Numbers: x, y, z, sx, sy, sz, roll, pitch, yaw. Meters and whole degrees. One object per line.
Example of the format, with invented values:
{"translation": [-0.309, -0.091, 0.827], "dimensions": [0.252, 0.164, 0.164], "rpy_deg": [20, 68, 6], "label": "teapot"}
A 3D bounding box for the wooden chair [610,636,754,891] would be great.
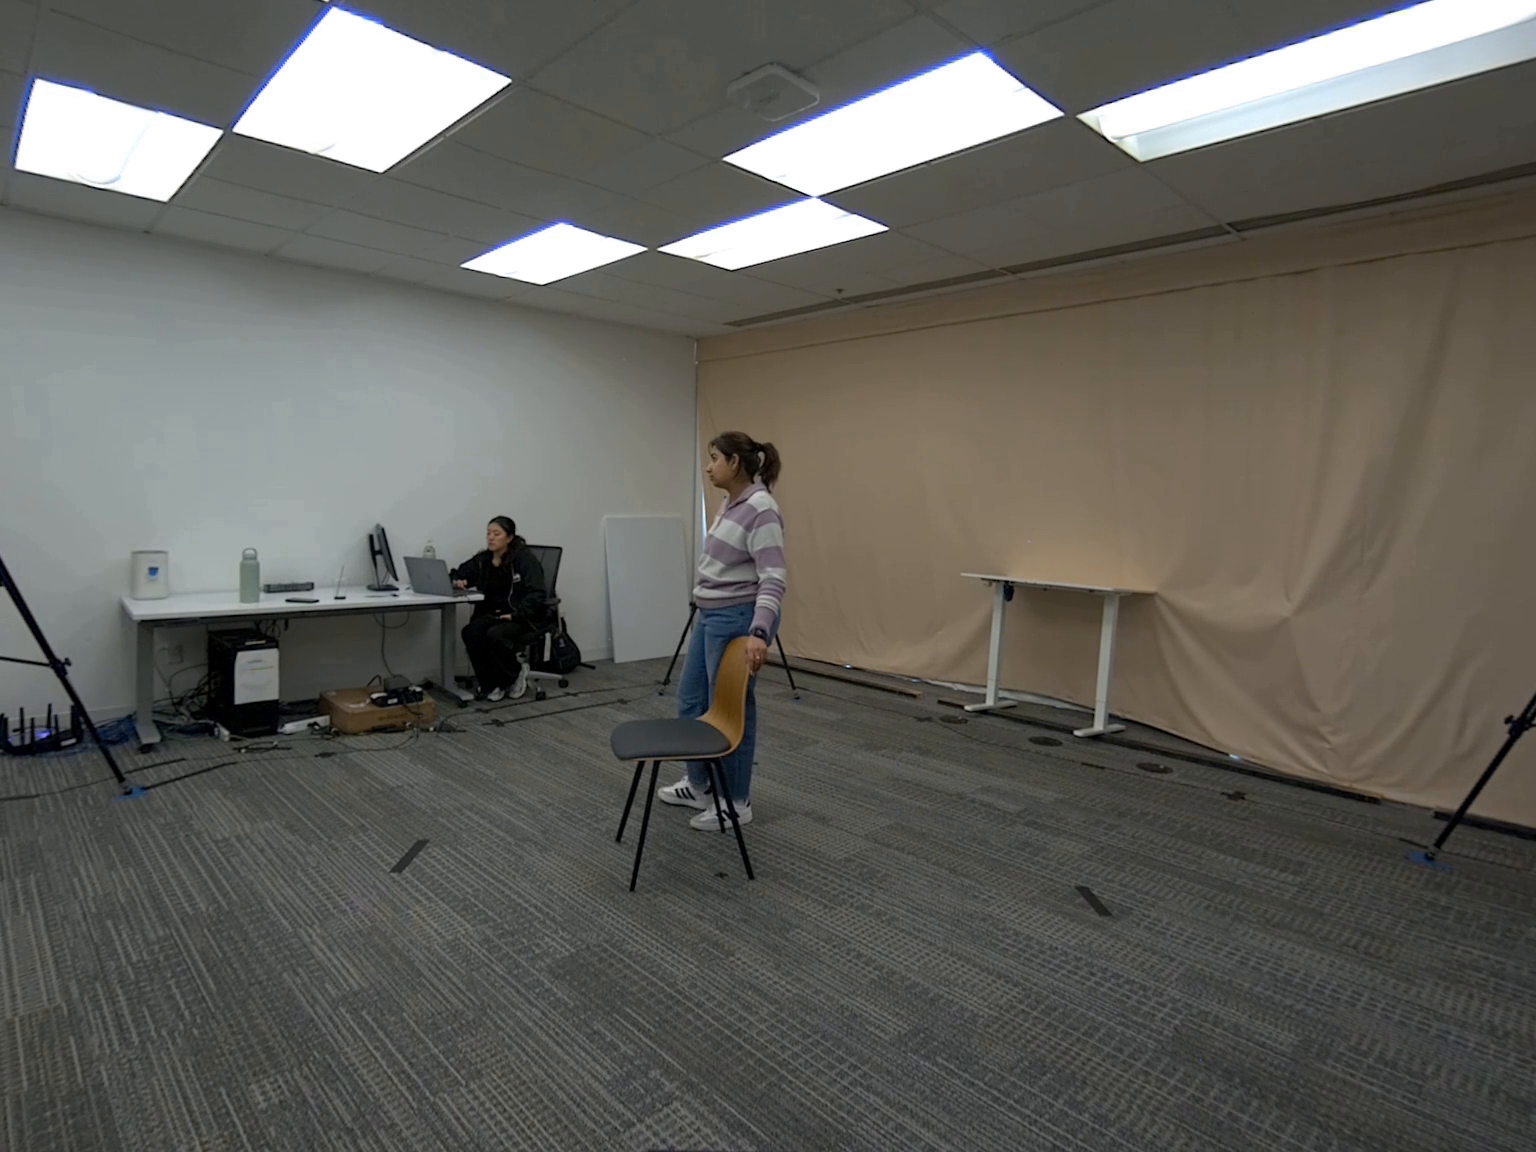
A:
{"translation": [-0.335, 0.664, 3.184], "dimensions": [0.516, 0.876, 0.485], "rpy_deg": [4, 3, -16], "label": "wooden chair"}
